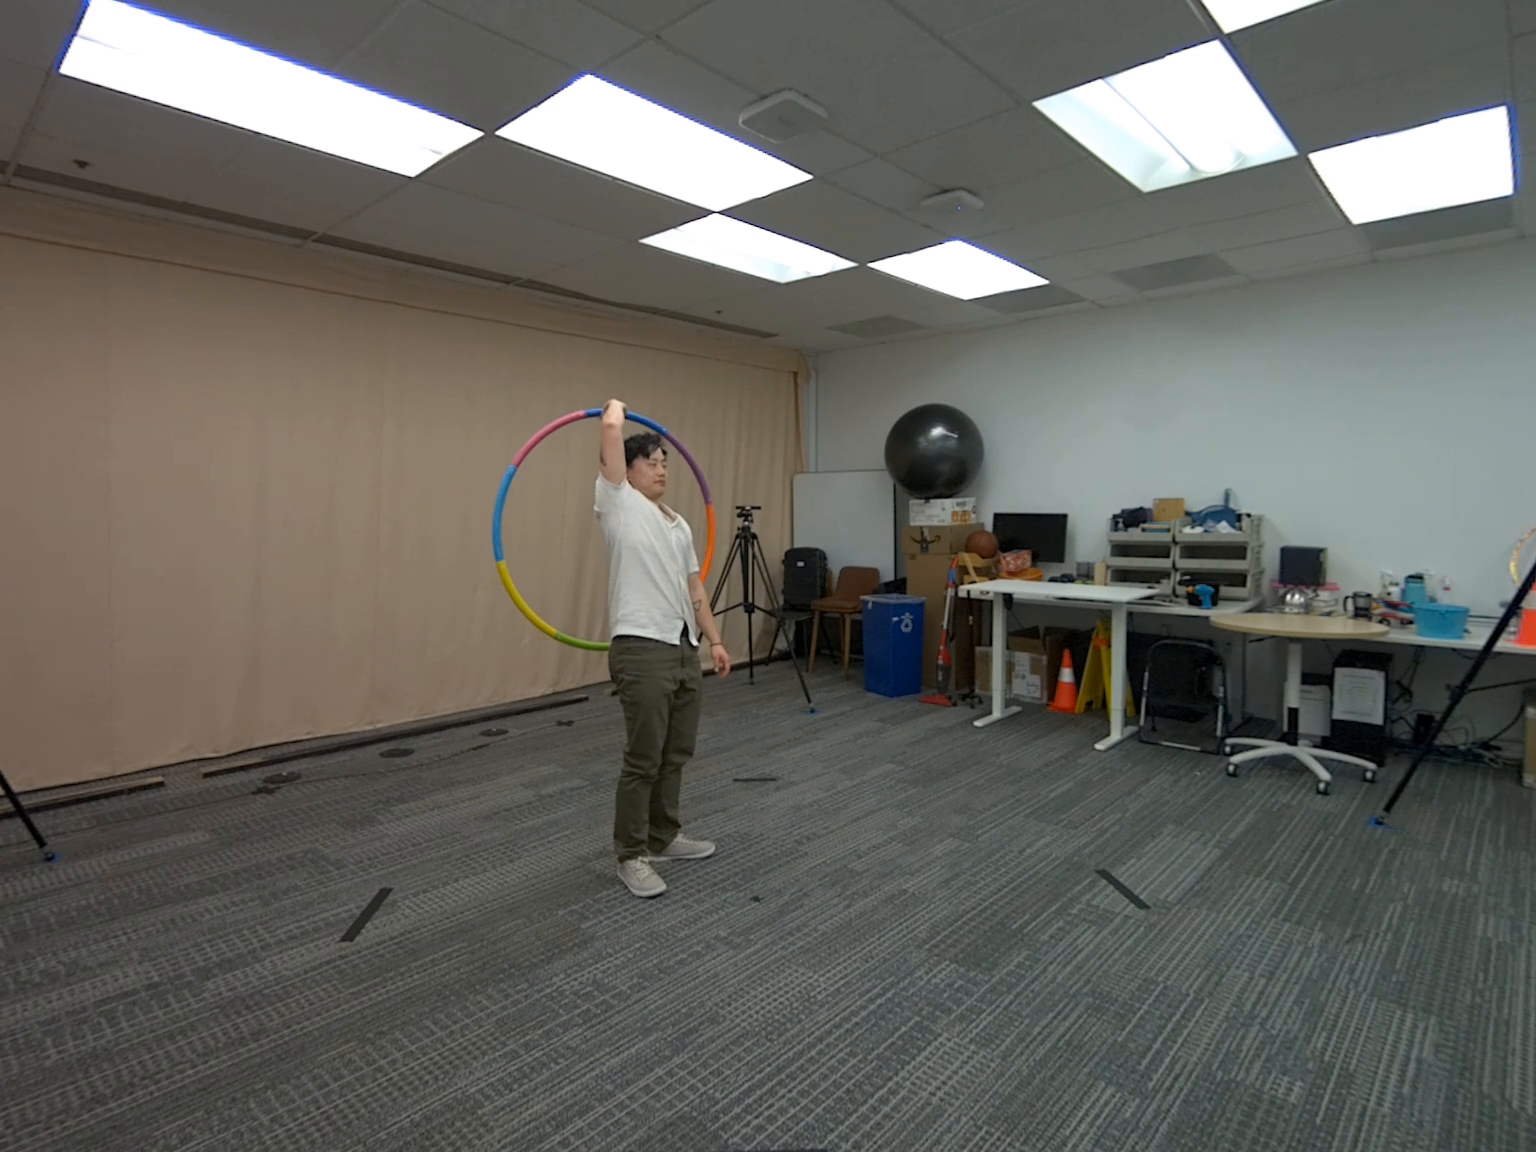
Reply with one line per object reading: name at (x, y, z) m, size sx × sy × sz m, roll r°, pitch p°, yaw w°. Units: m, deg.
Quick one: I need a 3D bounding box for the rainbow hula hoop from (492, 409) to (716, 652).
rainbow hula hoop at (-0.639, -0.187, 3.452) m, size 0.951 × 0.976 × 0.036 m, roll -2°, pitch 4°, yaw -33°
